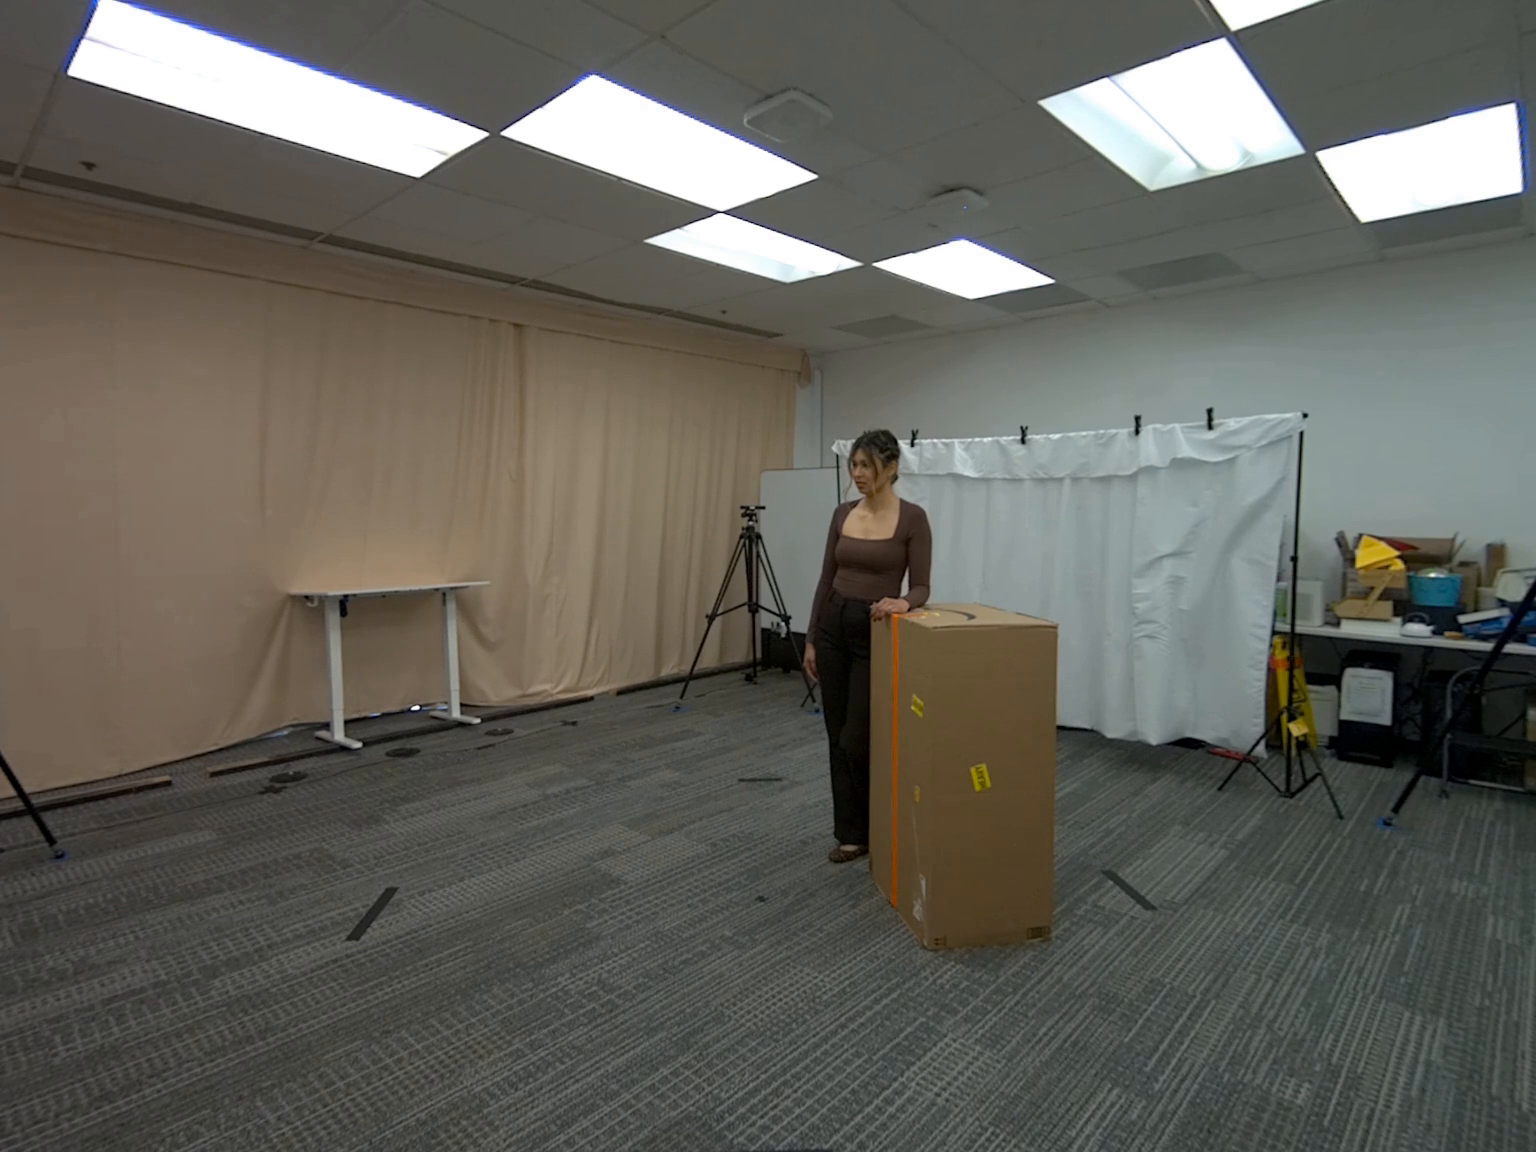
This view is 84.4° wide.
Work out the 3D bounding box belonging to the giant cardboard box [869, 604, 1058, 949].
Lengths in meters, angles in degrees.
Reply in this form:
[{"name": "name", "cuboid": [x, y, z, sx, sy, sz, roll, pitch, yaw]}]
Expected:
[{"name": "giant cardboard box", "cuboid": [0.655, 0.641, 2.909, 0.442, 1.025, 0.592, -1, 3, -11]}]
